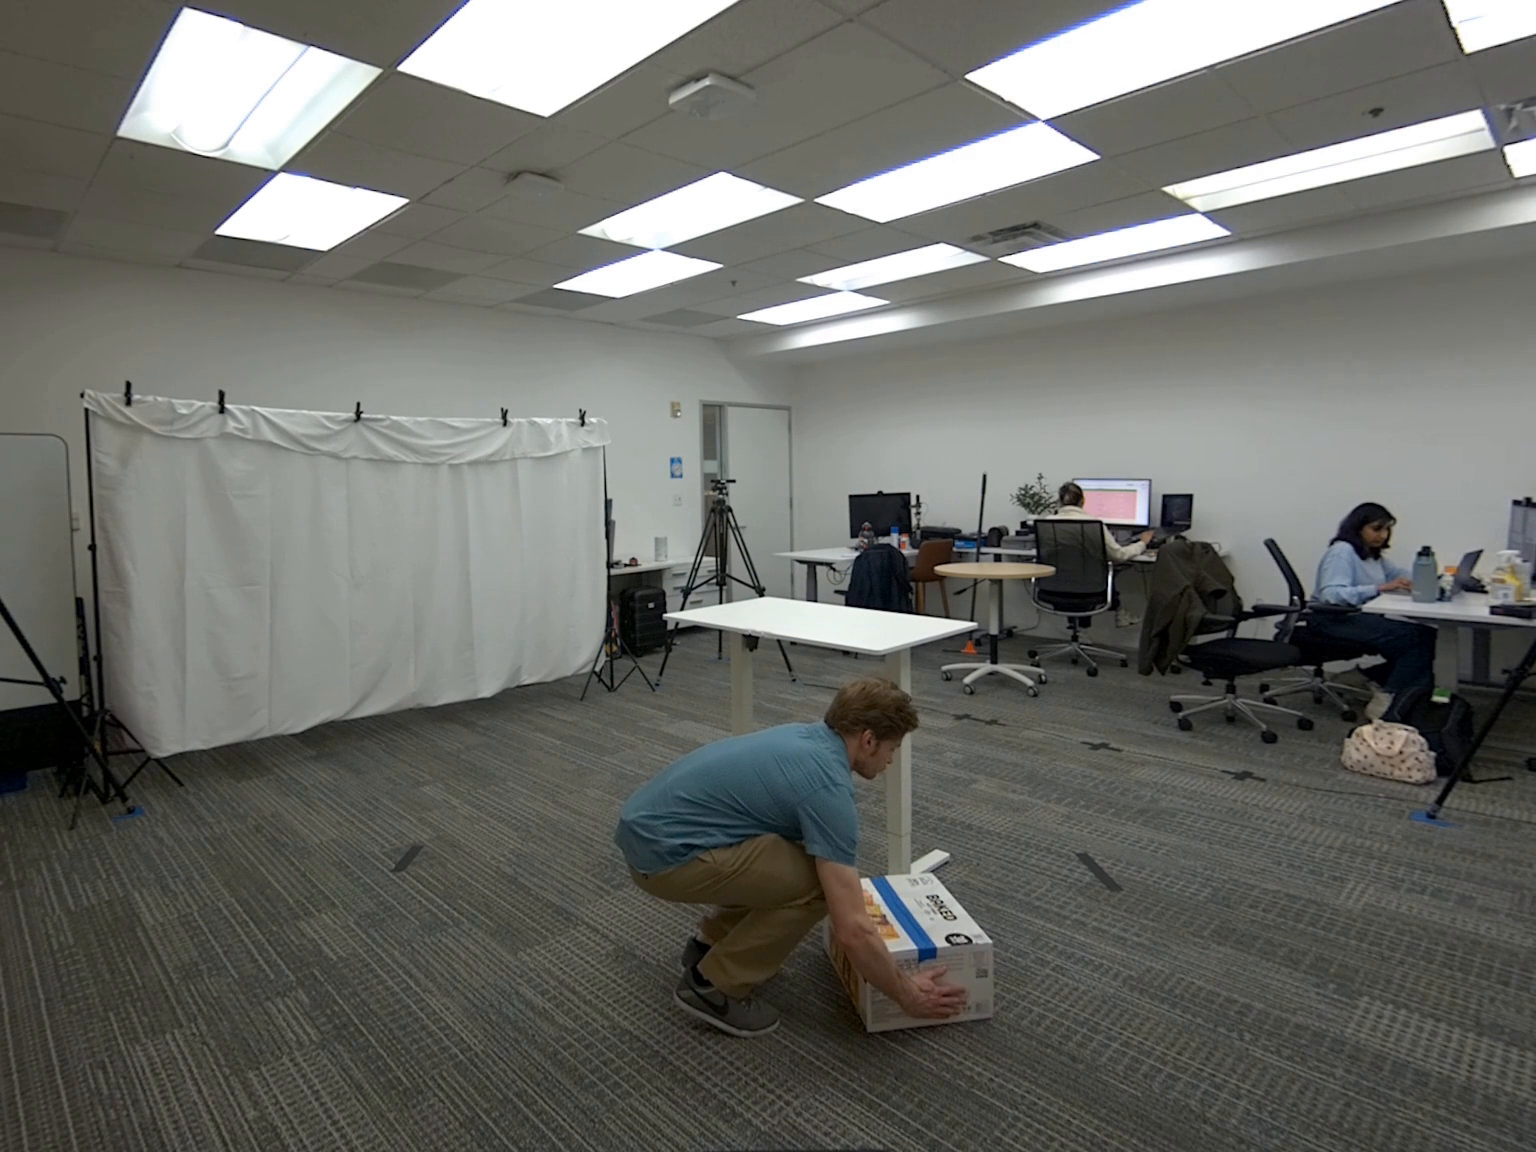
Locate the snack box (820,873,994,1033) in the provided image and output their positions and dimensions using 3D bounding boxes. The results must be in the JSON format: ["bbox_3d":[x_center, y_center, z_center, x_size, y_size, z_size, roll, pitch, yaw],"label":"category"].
[{"bbox_3d":[0.377,1.023,2.360,0.337,0.205,0.411,-3,6,-11],"label":"snack box"}]
